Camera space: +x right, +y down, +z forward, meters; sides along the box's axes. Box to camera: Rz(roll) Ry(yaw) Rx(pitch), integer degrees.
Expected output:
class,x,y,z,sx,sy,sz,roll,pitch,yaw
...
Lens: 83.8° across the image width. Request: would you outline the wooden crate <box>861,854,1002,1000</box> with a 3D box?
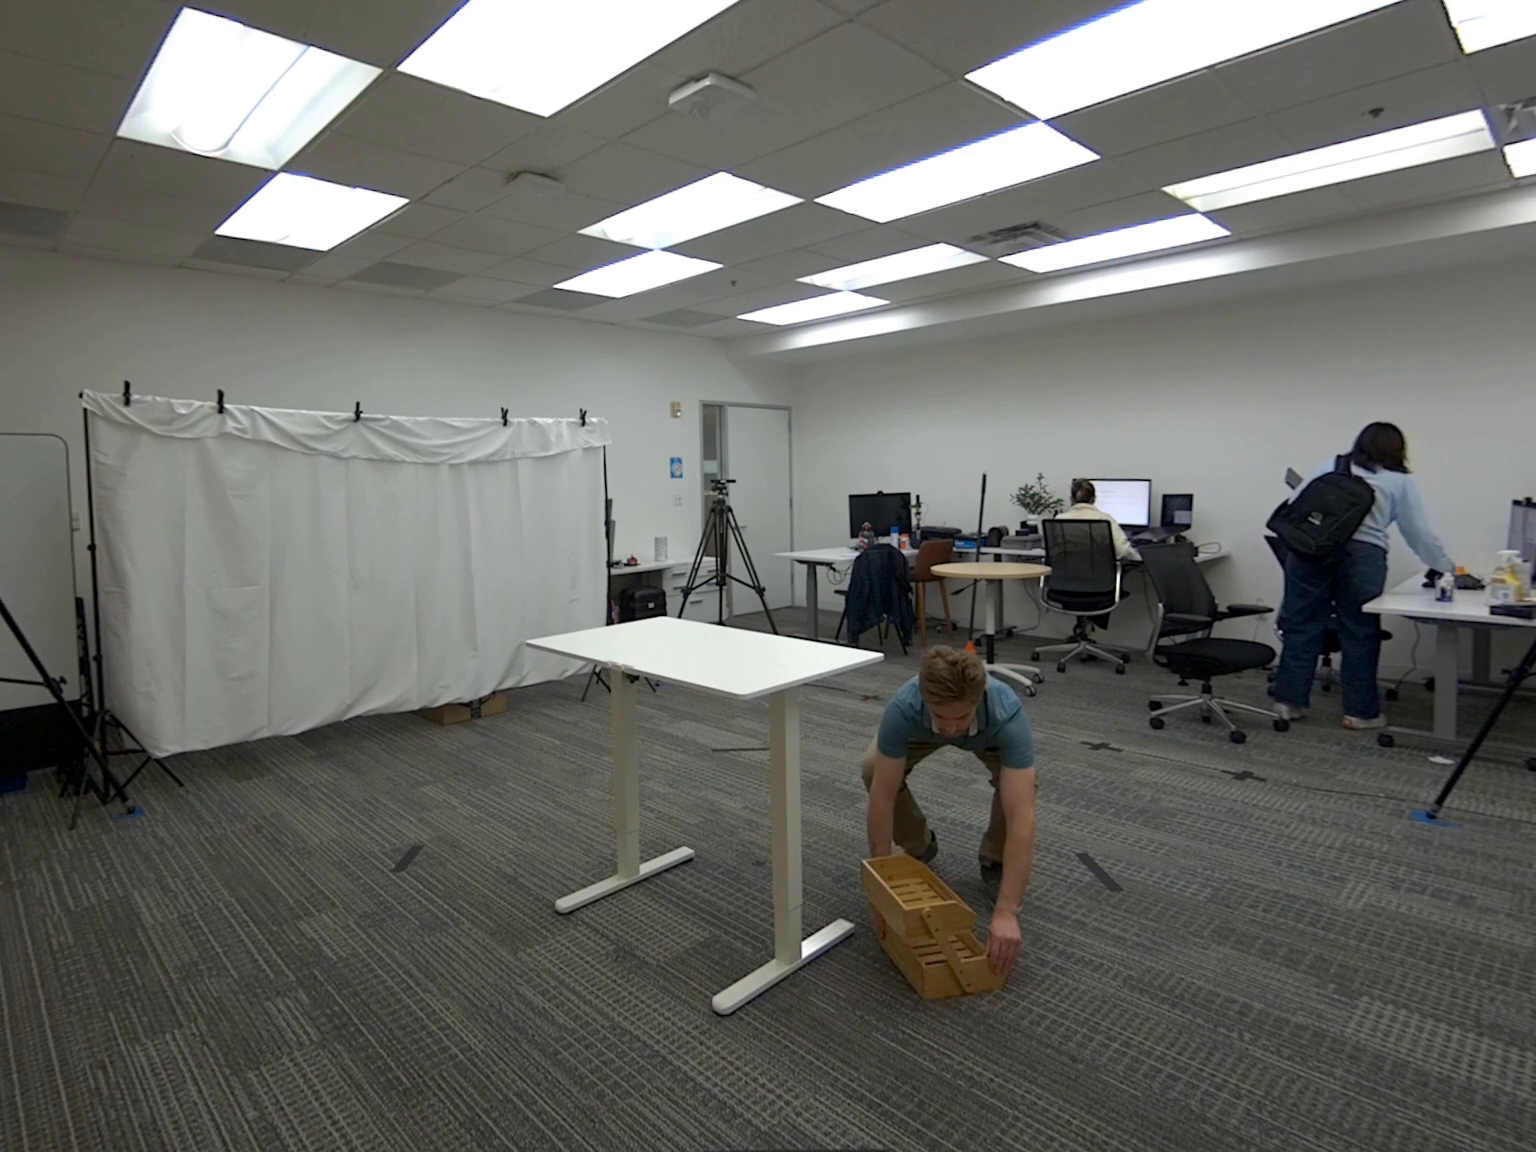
class,x,y,z,sx,sy,sz,roll,pitch,yaw
wooden crate,0.484,0.980,2.438,0.298,0.272,0.330,-3,6,-14
